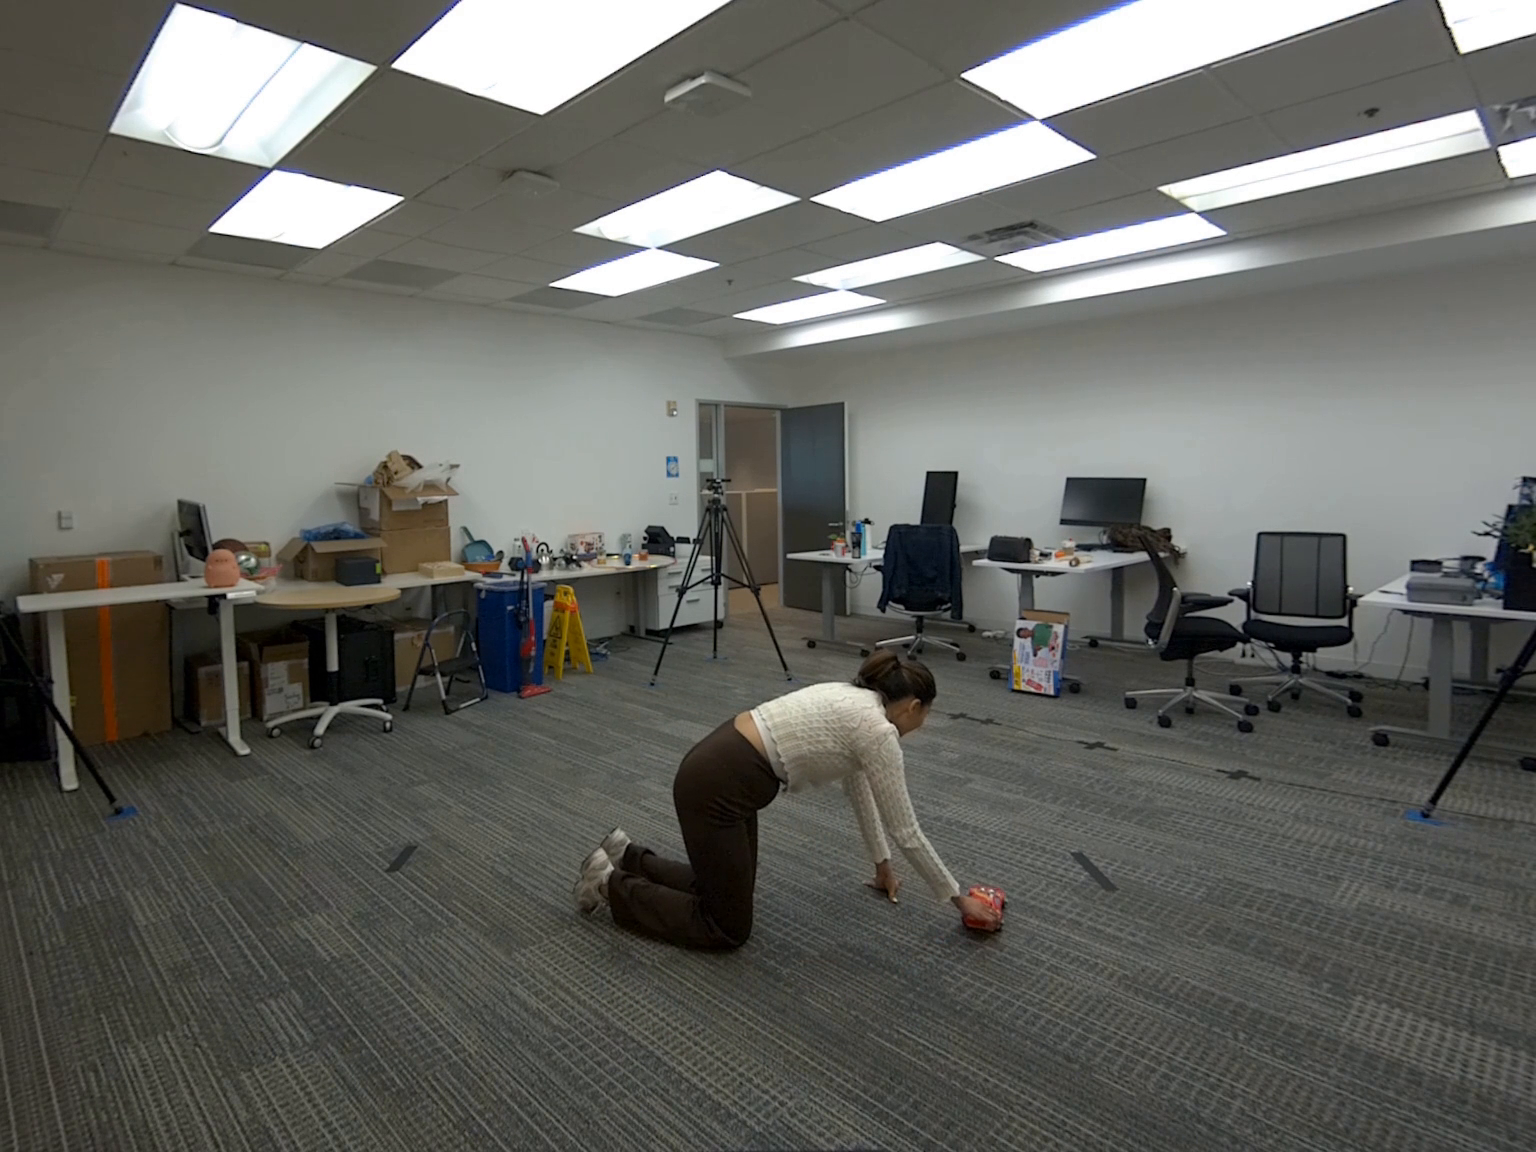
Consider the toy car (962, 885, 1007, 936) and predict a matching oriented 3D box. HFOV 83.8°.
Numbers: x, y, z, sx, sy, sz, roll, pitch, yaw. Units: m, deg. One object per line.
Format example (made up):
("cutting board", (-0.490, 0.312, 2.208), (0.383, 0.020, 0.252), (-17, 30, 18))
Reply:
("toy car", (0.675, 1.040, 2.684), (0.133, 0.083, 0.248), (3, -2, 21))
